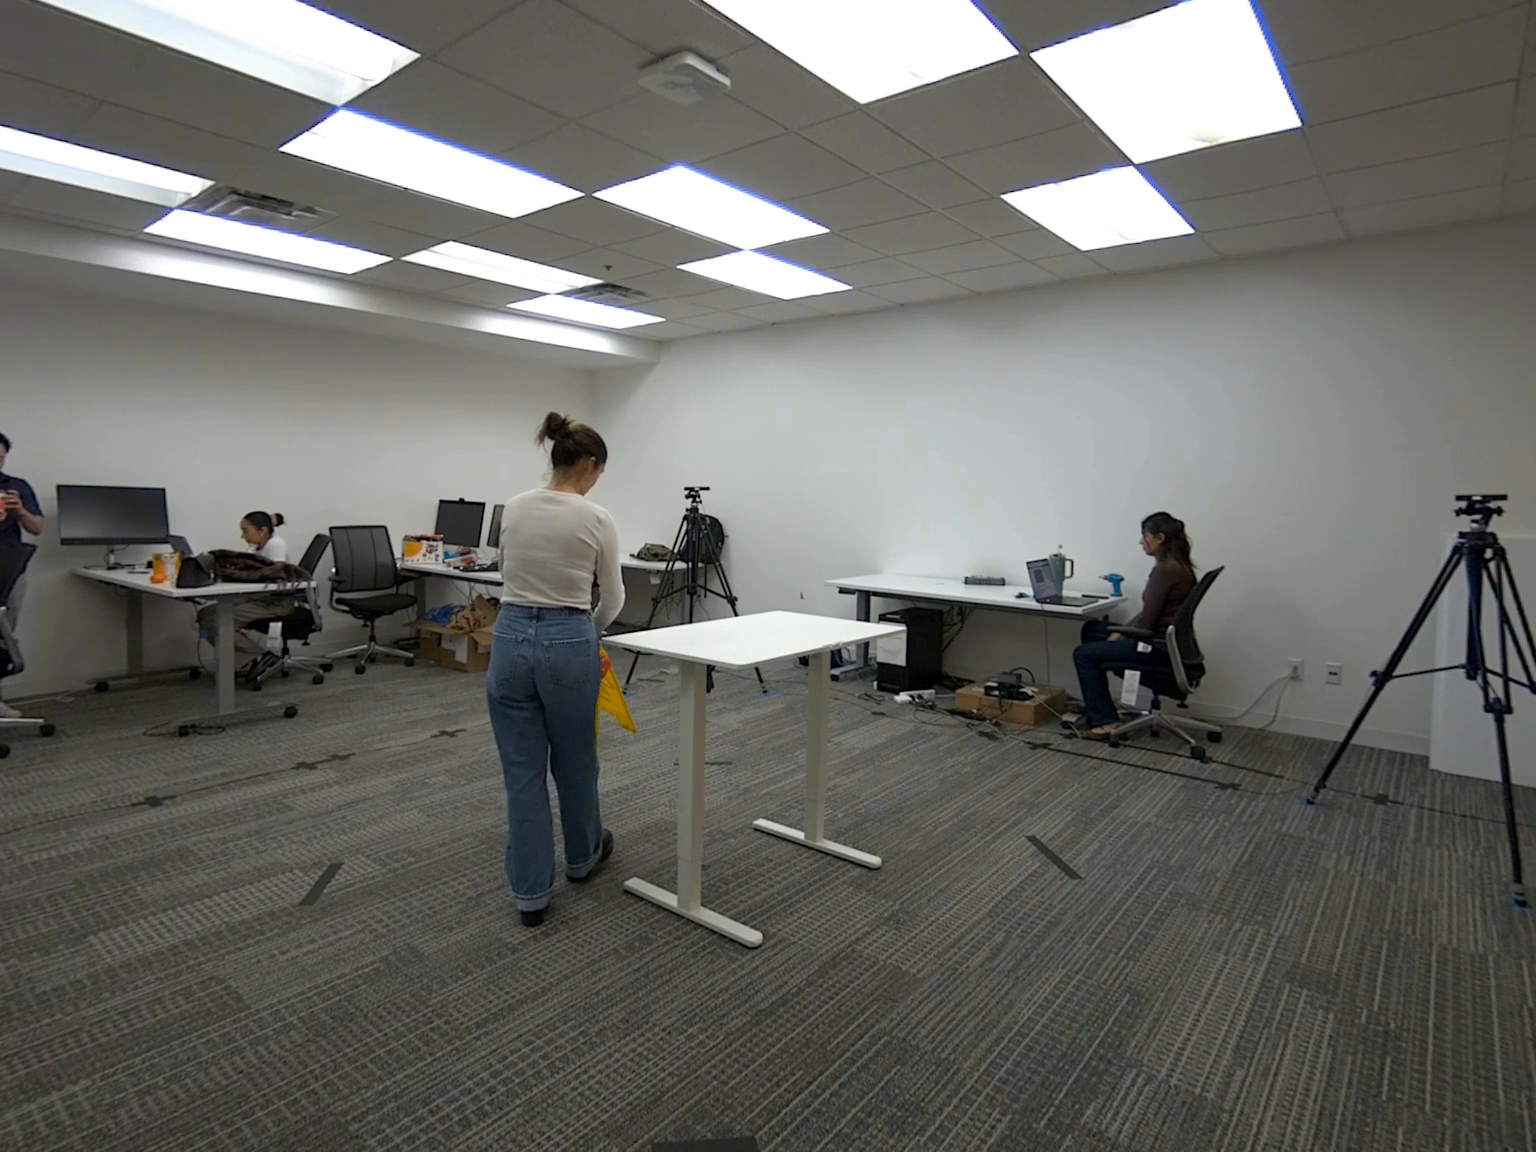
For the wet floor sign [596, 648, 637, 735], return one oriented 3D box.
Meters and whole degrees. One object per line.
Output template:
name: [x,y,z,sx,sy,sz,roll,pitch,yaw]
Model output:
wet floor sign: [-0.721,0.433,3.272,0.290,0.628,0.290,20,43,21]
